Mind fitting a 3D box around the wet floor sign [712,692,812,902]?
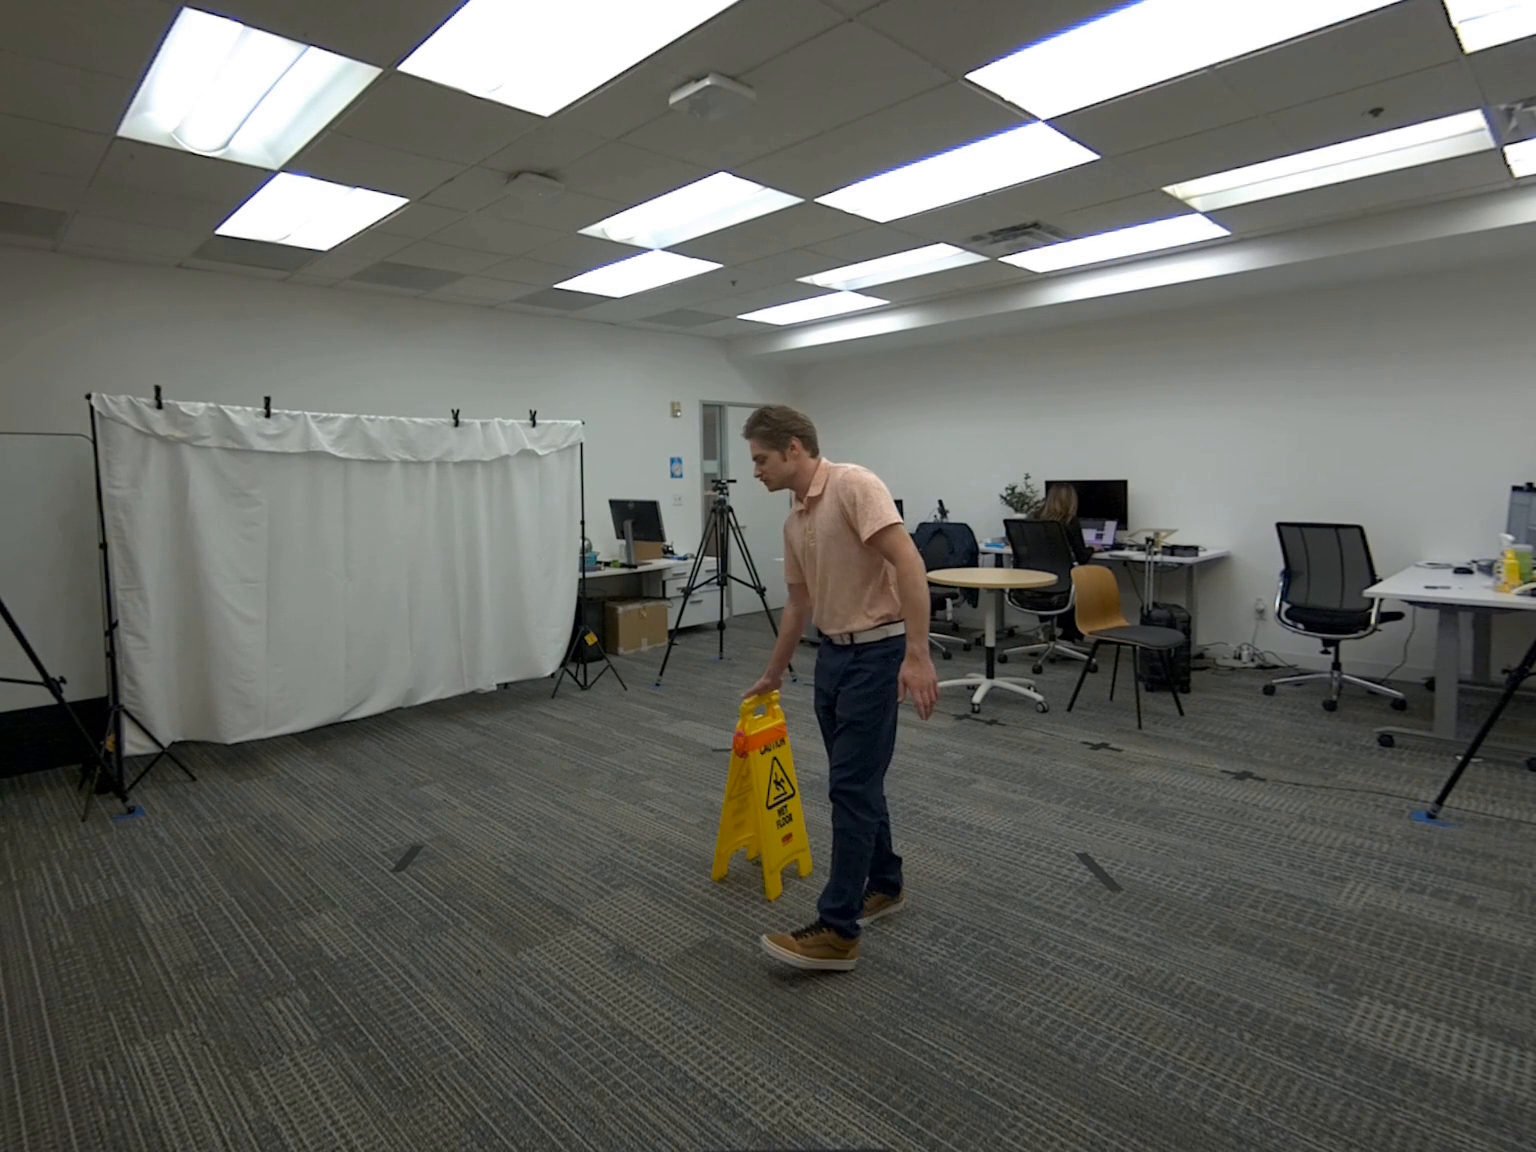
[{"bbox_3d":[-0.023,0.735,2.992,0.298,0.644,0.275,1,4,36],"label":"wet floor sign"}]
